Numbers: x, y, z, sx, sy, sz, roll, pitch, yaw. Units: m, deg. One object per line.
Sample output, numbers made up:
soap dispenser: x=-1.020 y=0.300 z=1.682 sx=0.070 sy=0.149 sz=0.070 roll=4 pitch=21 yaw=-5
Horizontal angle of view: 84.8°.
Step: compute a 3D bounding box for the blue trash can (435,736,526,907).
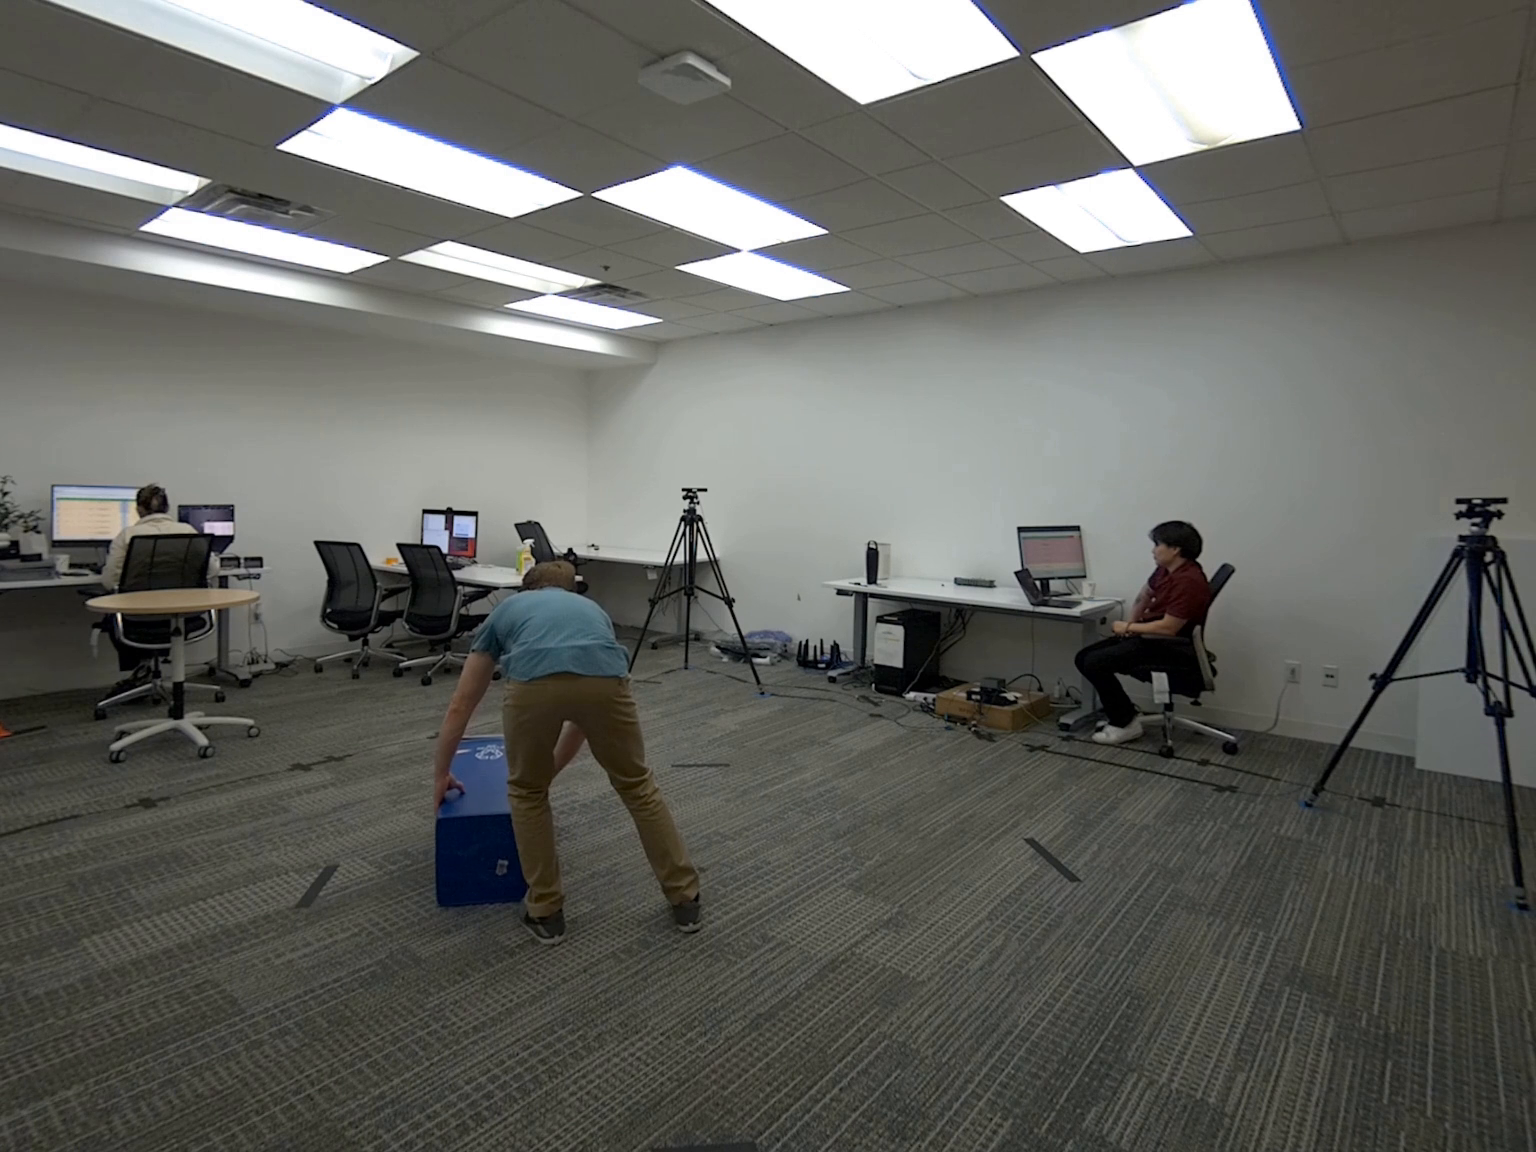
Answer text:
blue trash can: x=-1.035 y=0.889 z=3.156 sx=0.369 sy=0.375 sz=0.728 roll=0 pitch=8 yaw=-13
